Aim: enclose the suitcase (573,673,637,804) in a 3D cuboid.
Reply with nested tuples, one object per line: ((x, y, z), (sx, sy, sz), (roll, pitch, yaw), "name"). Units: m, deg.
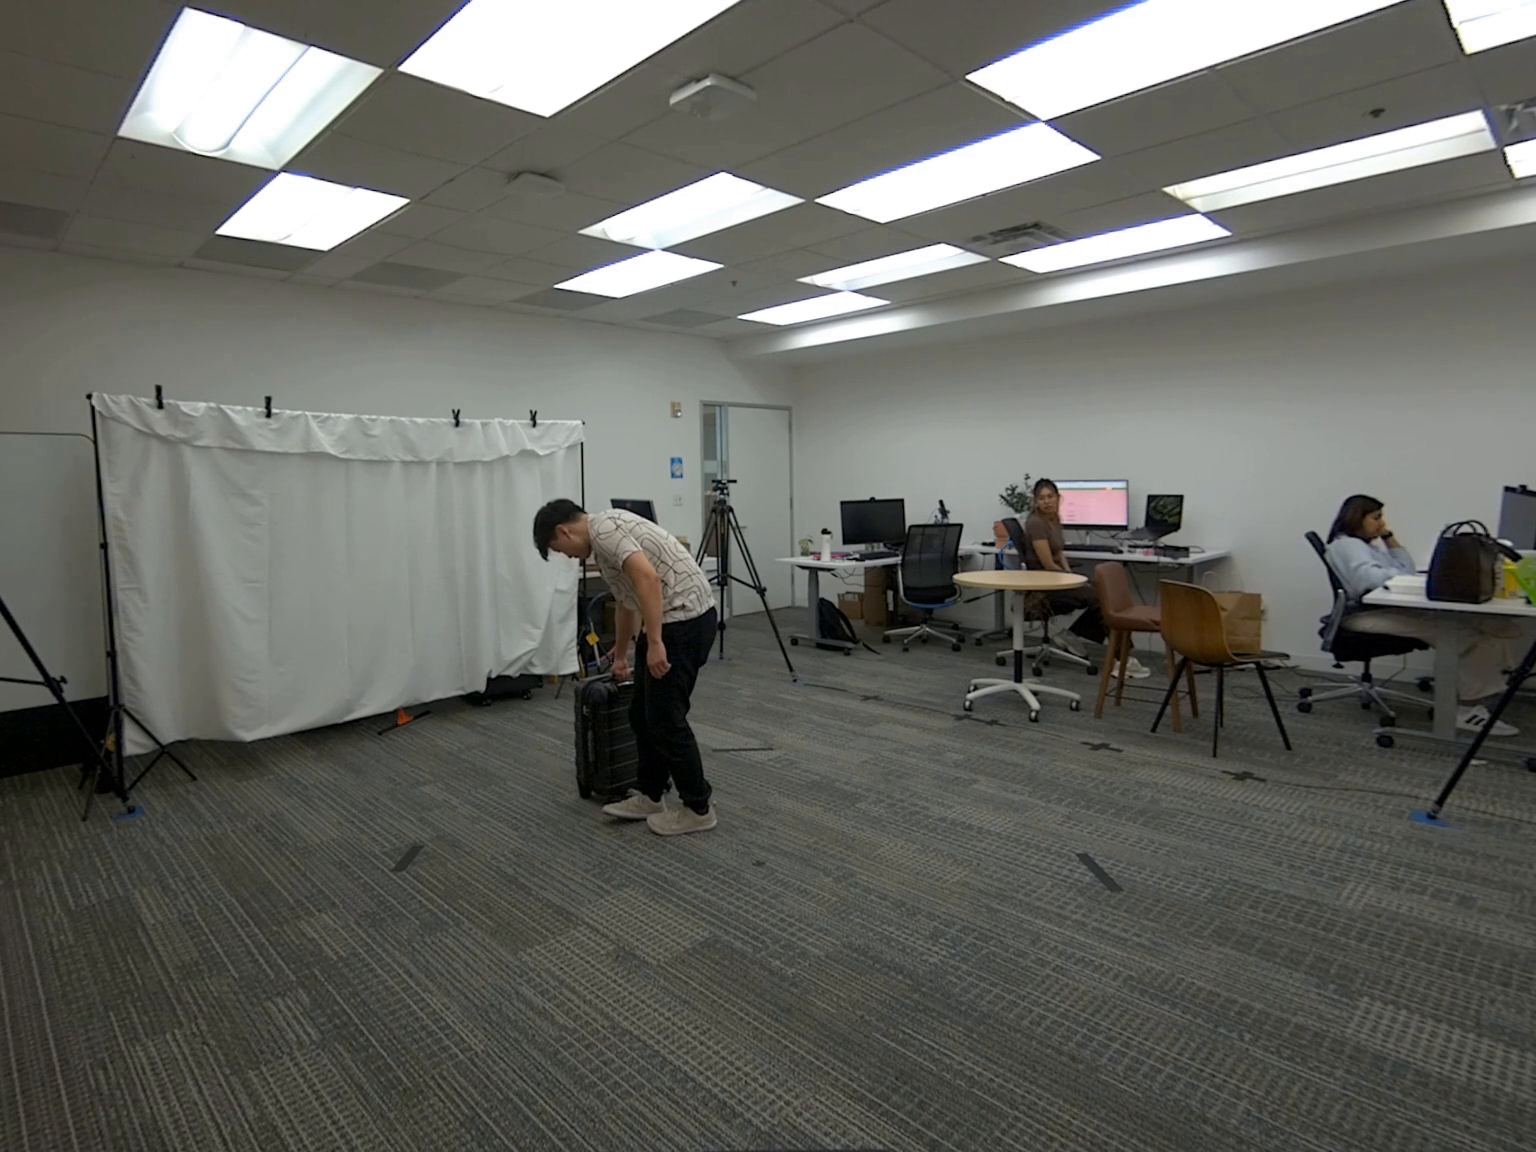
((-0.669, 0.705, 3.825), (0.366, 0.547, 0.256), (-7, 5, -44), "suitcase")
